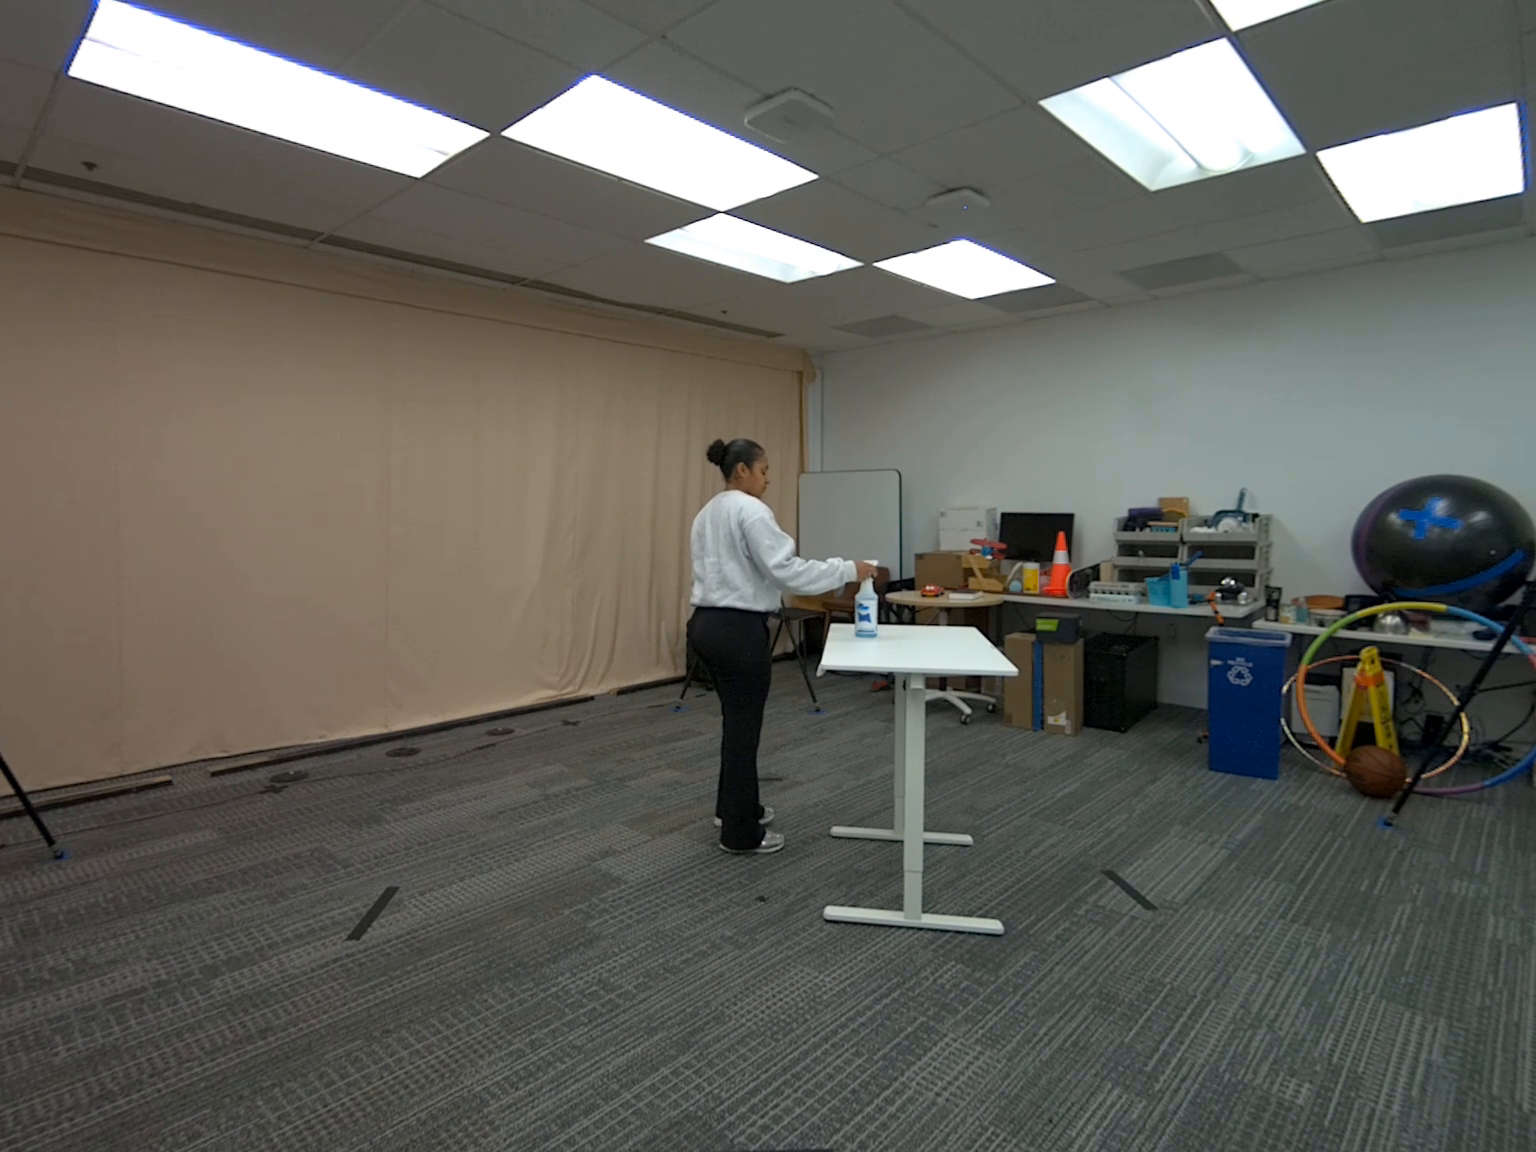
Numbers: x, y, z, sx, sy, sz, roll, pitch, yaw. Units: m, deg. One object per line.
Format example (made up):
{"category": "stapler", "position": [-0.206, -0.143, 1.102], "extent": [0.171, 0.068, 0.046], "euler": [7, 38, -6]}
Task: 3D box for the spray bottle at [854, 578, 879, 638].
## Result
{"category": "spray bottle", "position": [0.386, 0.092, 3.277], "extent": [0.090, 0.297, 0.087], "euler": [1, 2, -5]}
